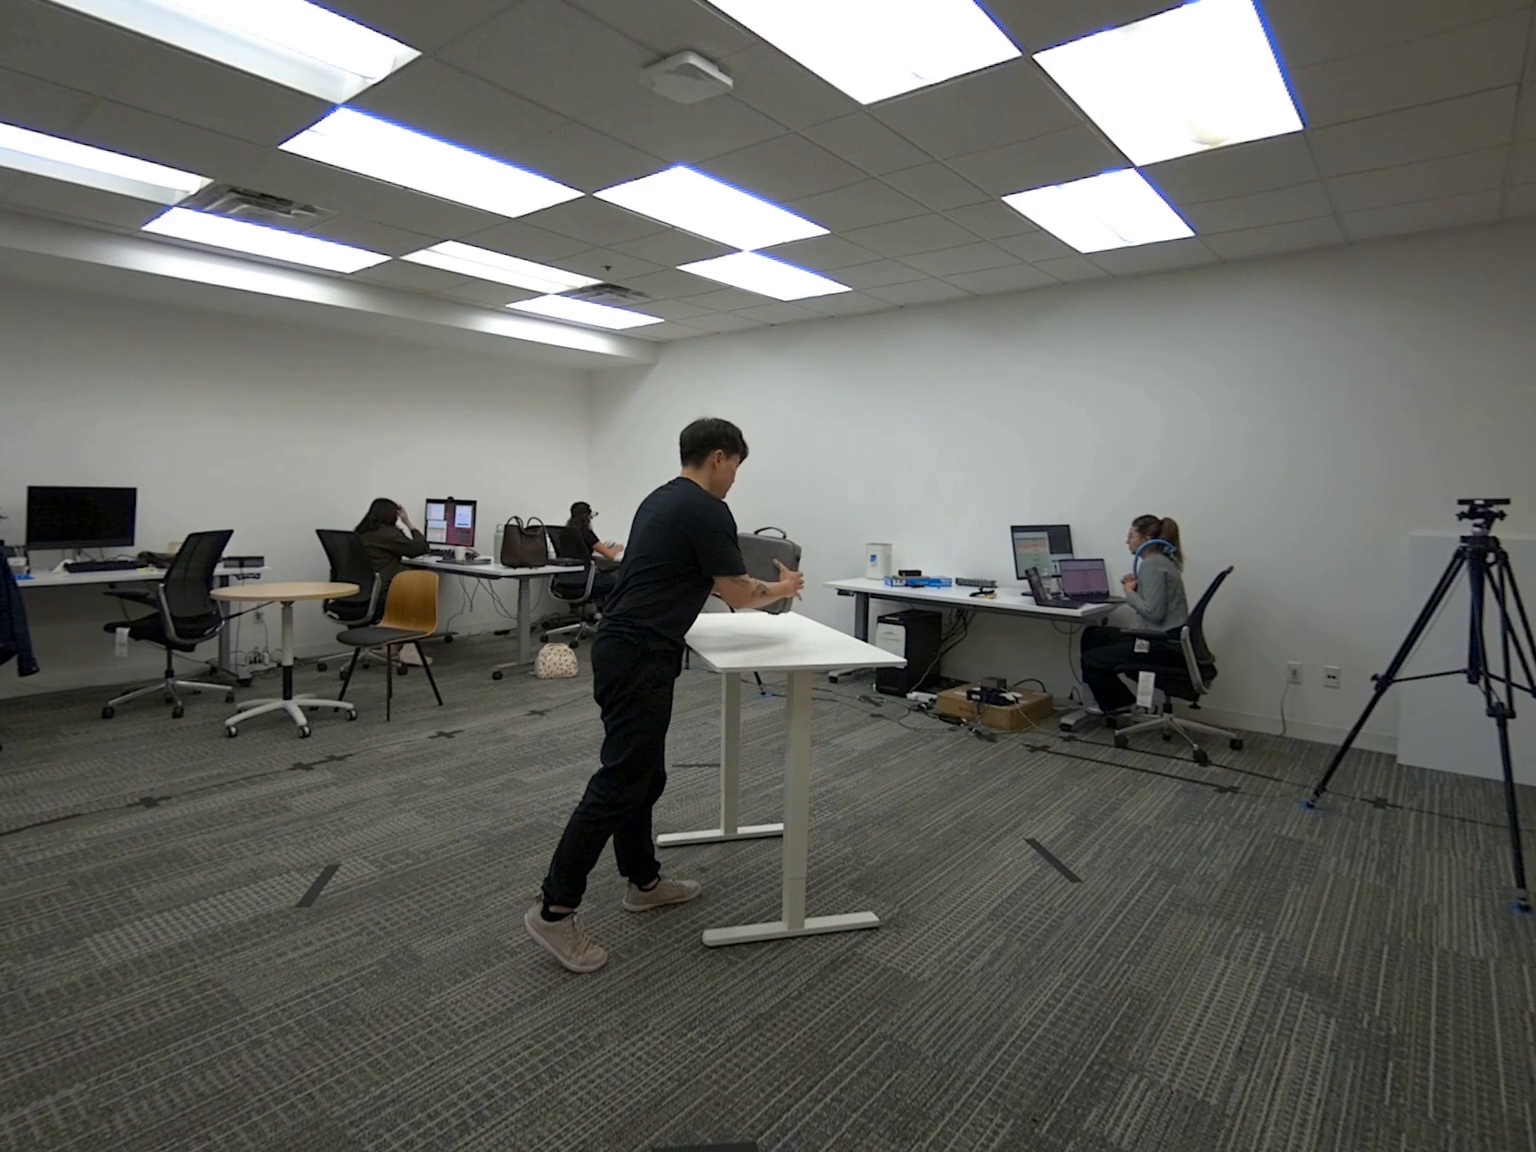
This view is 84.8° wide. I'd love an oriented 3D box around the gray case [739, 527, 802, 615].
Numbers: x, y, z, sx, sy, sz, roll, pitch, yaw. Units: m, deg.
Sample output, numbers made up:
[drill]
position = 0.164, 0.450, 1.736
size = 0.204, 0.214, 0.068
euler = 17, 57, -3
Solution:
[gray case]
position = -0.037, -0.014, 2.971
size = 0.264, 0.261, 0.101
euler = 10, -2, 24
